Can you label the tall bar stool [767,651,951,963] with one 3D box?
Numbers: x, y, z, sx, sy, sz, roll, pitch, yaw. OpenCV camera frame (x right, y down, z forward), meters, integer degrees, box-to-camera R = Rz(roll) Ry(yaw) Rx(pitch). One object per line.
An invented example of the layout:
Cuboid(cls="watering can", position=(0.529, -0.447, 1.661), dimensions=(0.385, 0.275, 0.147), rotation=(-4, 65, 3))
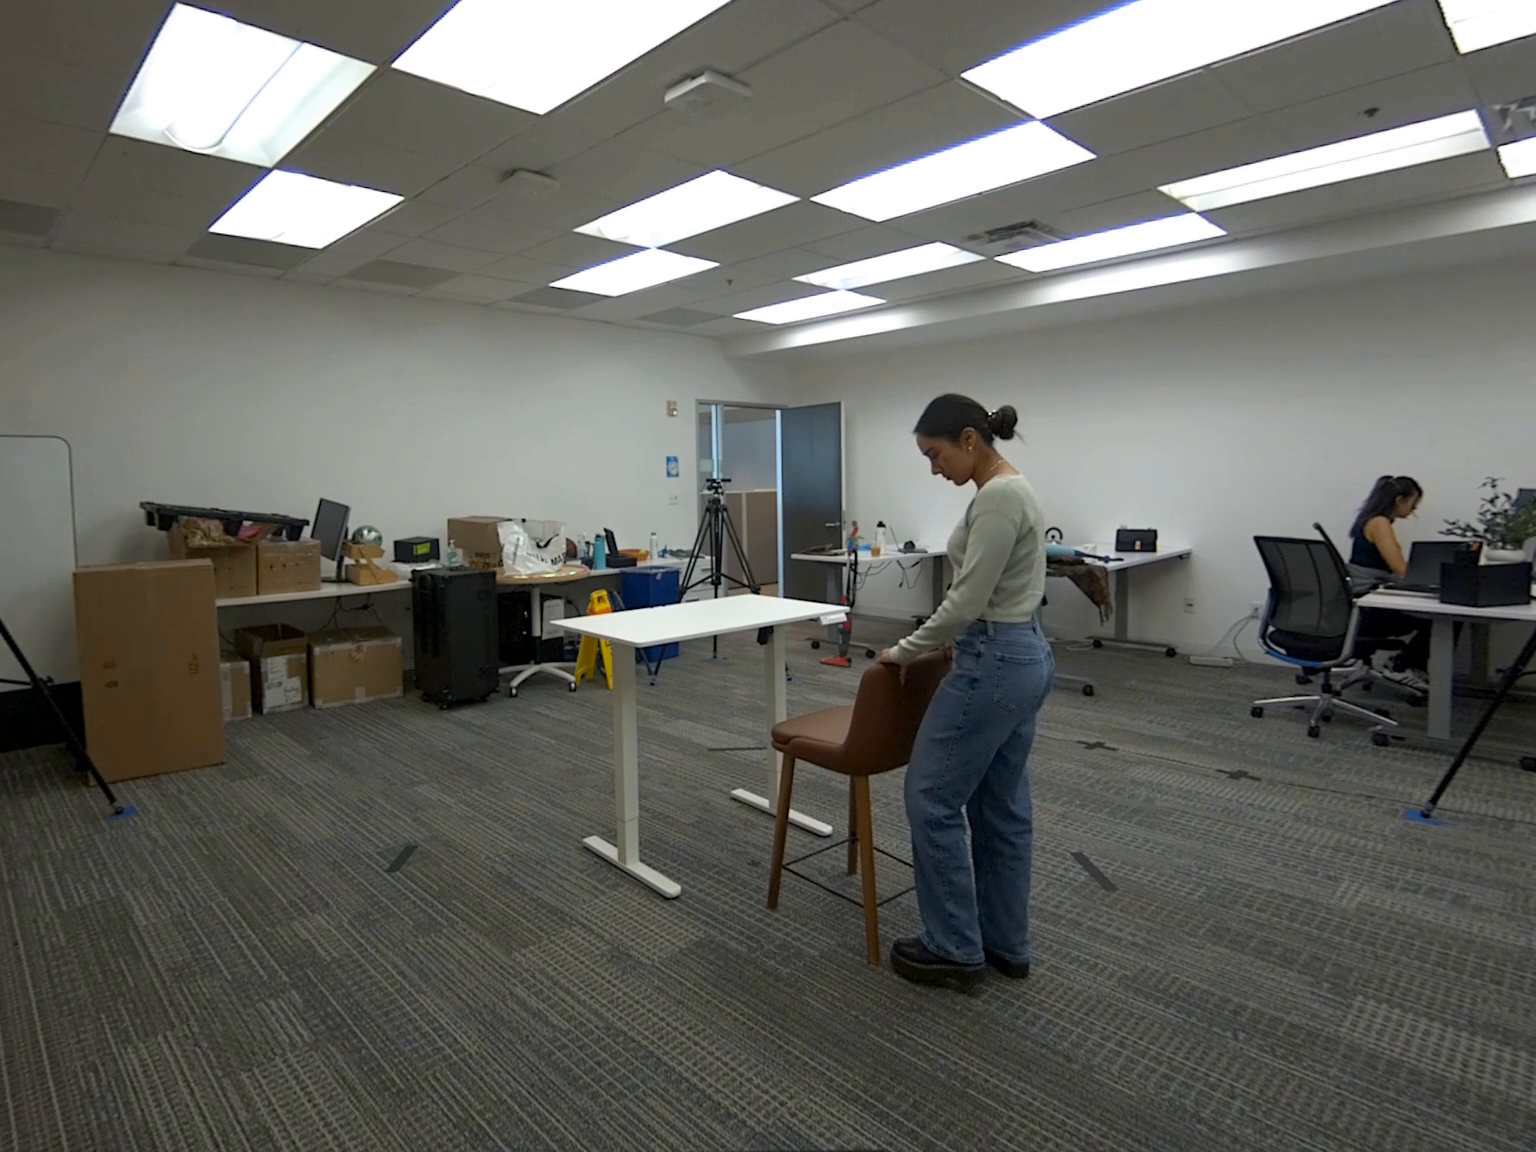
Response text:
Cuboid(cls="tall bar stool", position=(0.300, 0.643, 2.692), dimensions=(0.444, 0.885, 0.482), rotation=(-4, 7, -39))
